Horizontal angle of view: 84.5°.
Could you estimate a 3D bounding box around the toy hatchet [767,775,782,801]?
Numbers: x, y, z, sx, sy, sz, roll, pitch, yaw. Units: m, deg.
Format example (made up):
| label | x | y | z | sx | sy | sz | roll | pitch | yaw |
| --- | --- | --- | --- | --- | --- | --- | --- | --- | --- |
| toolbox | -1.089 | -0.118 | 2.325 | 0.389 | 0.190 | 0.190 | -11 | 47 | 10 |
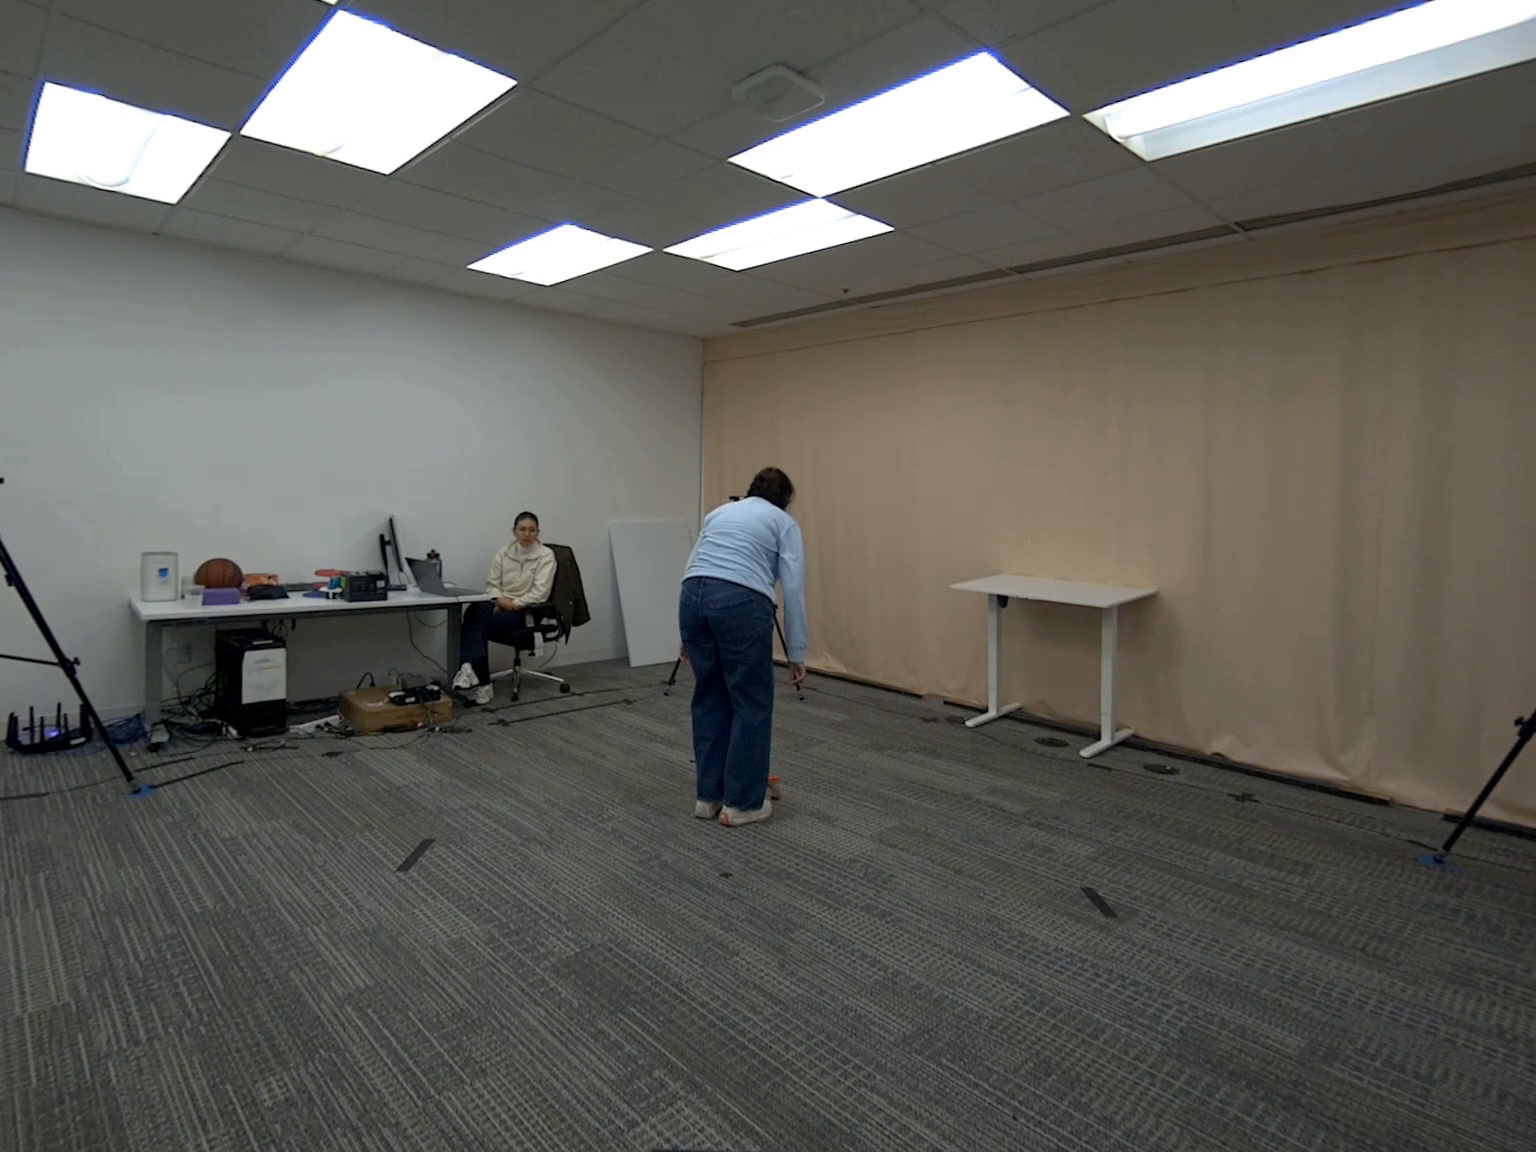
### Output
| label | x | y | z | sx | sy | sz | roll | pitch | yaw |
| --- | --- | --- | --- | --- | --- | --- | --- | --- | --- |
| toy hatchet | -0.021 | 1.015 | 4.042 | 0.131 | 0.029 | 0.270 | 1 | 6 | 3 |
